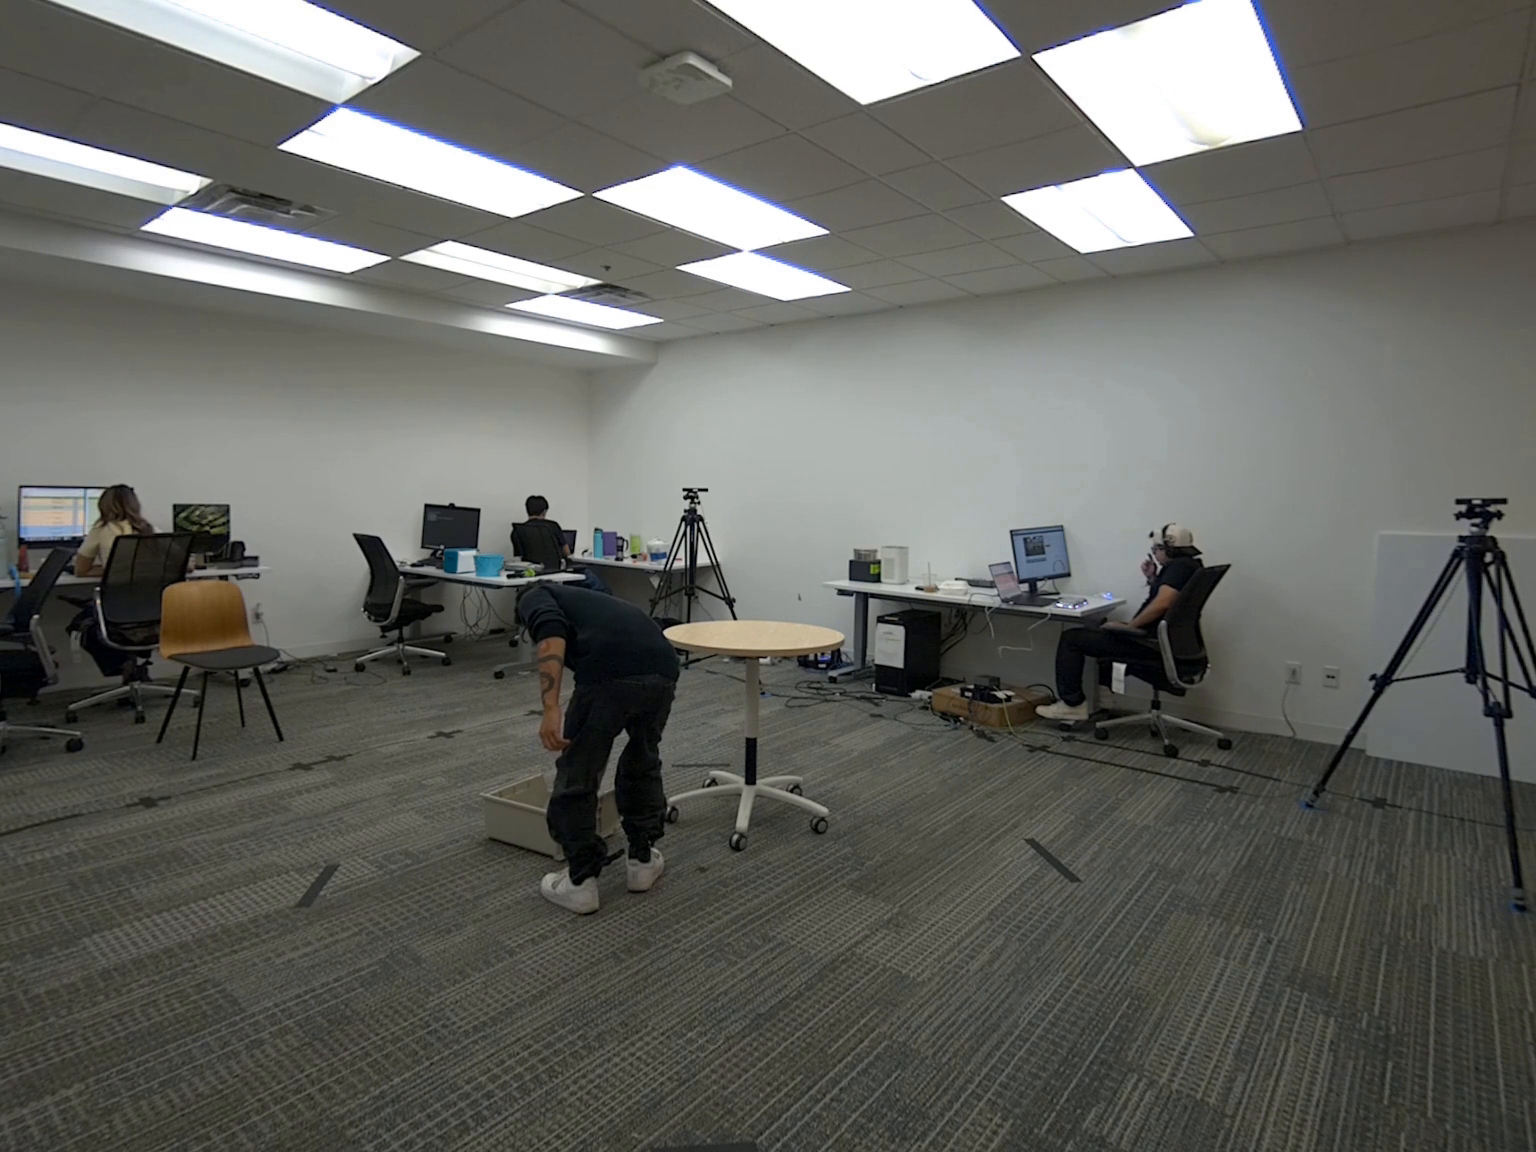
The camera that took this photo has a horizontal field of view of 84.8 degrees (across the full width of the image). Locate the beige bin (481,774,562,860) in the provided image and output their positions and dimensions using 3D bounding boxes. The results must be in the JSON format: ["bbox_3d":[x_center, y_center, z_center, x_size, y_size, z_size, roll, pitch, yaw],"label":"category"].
[{"bbox_3d":[-0.875,0.938,3.386,0.435,0.188,0.368,3,6,30],"label":"beige bin"}]
